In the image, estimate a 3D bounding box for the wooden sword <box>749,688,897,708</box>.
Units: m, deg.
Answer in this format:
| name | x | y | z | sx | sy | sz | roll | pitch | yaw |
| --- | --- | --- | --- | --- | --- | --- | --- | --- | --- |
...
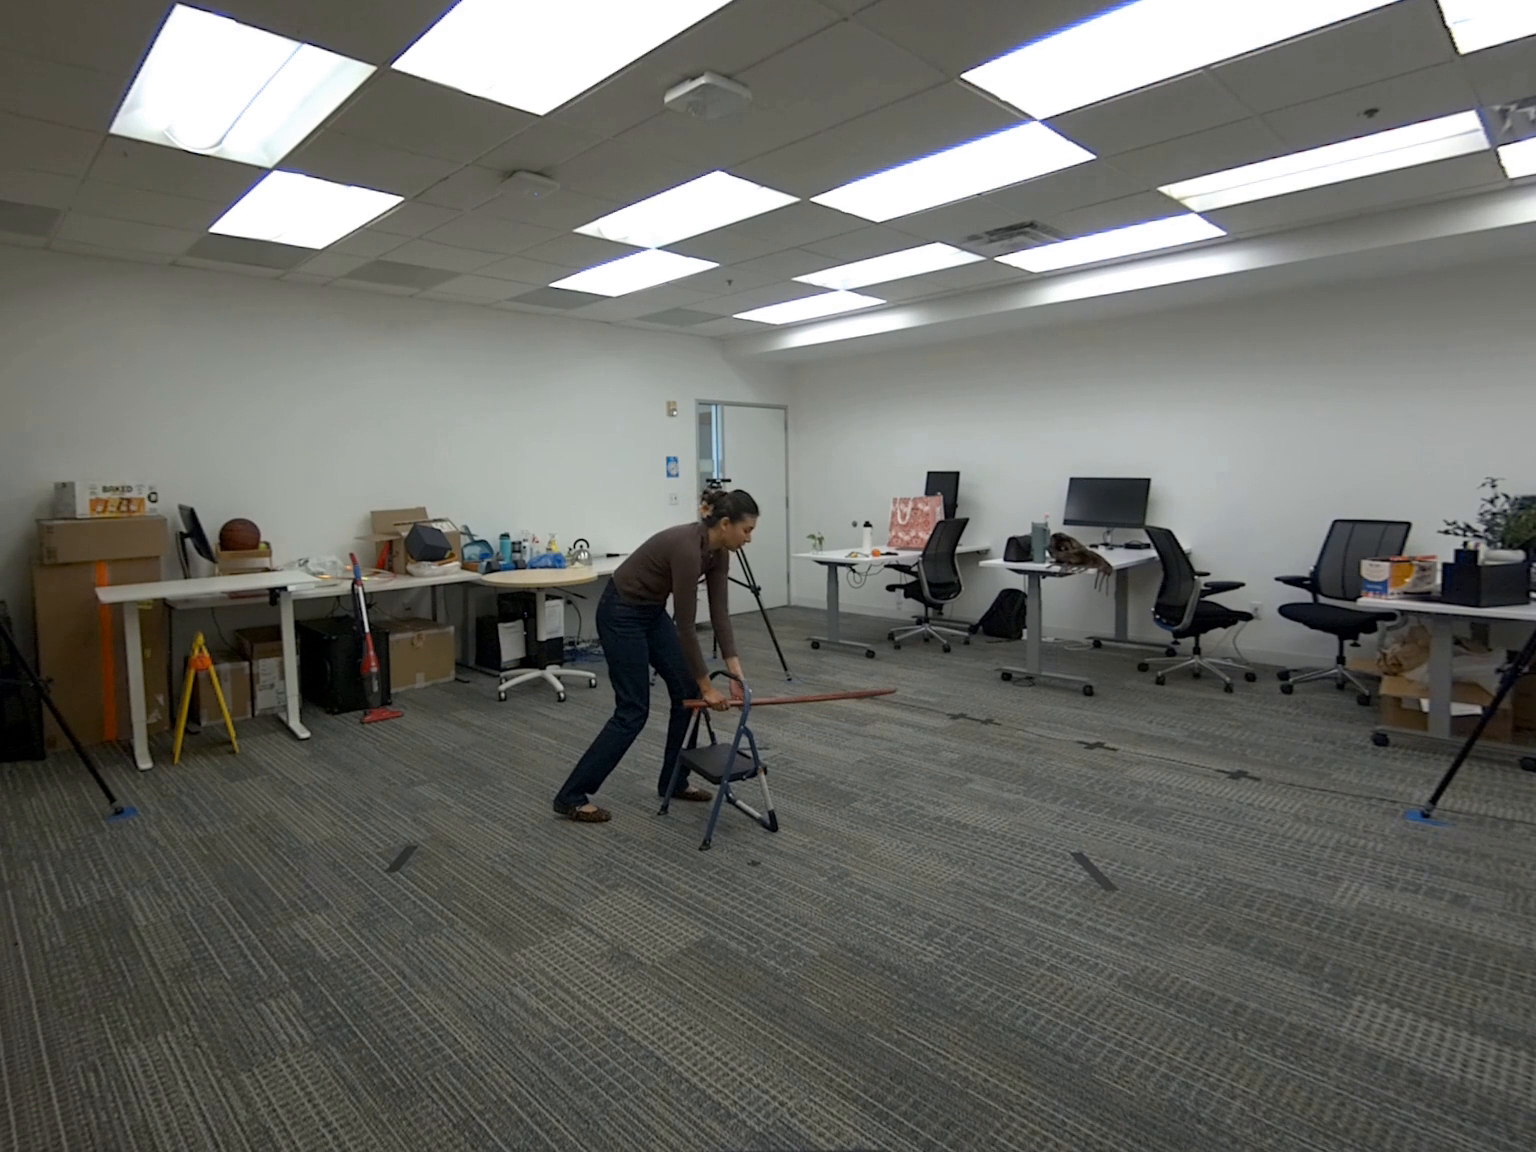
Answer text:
| name | x | y | z | sx | sy | sz | roll | pitch | yaw |
| --- | --- | --- | --- | --- | --- | --- | --- | --- | --- |
| wooden sword | 0.113 | 0.520 | 3.672 | 1.005 | 0.052 | 0.024 | 0 | -19 | -21 |
